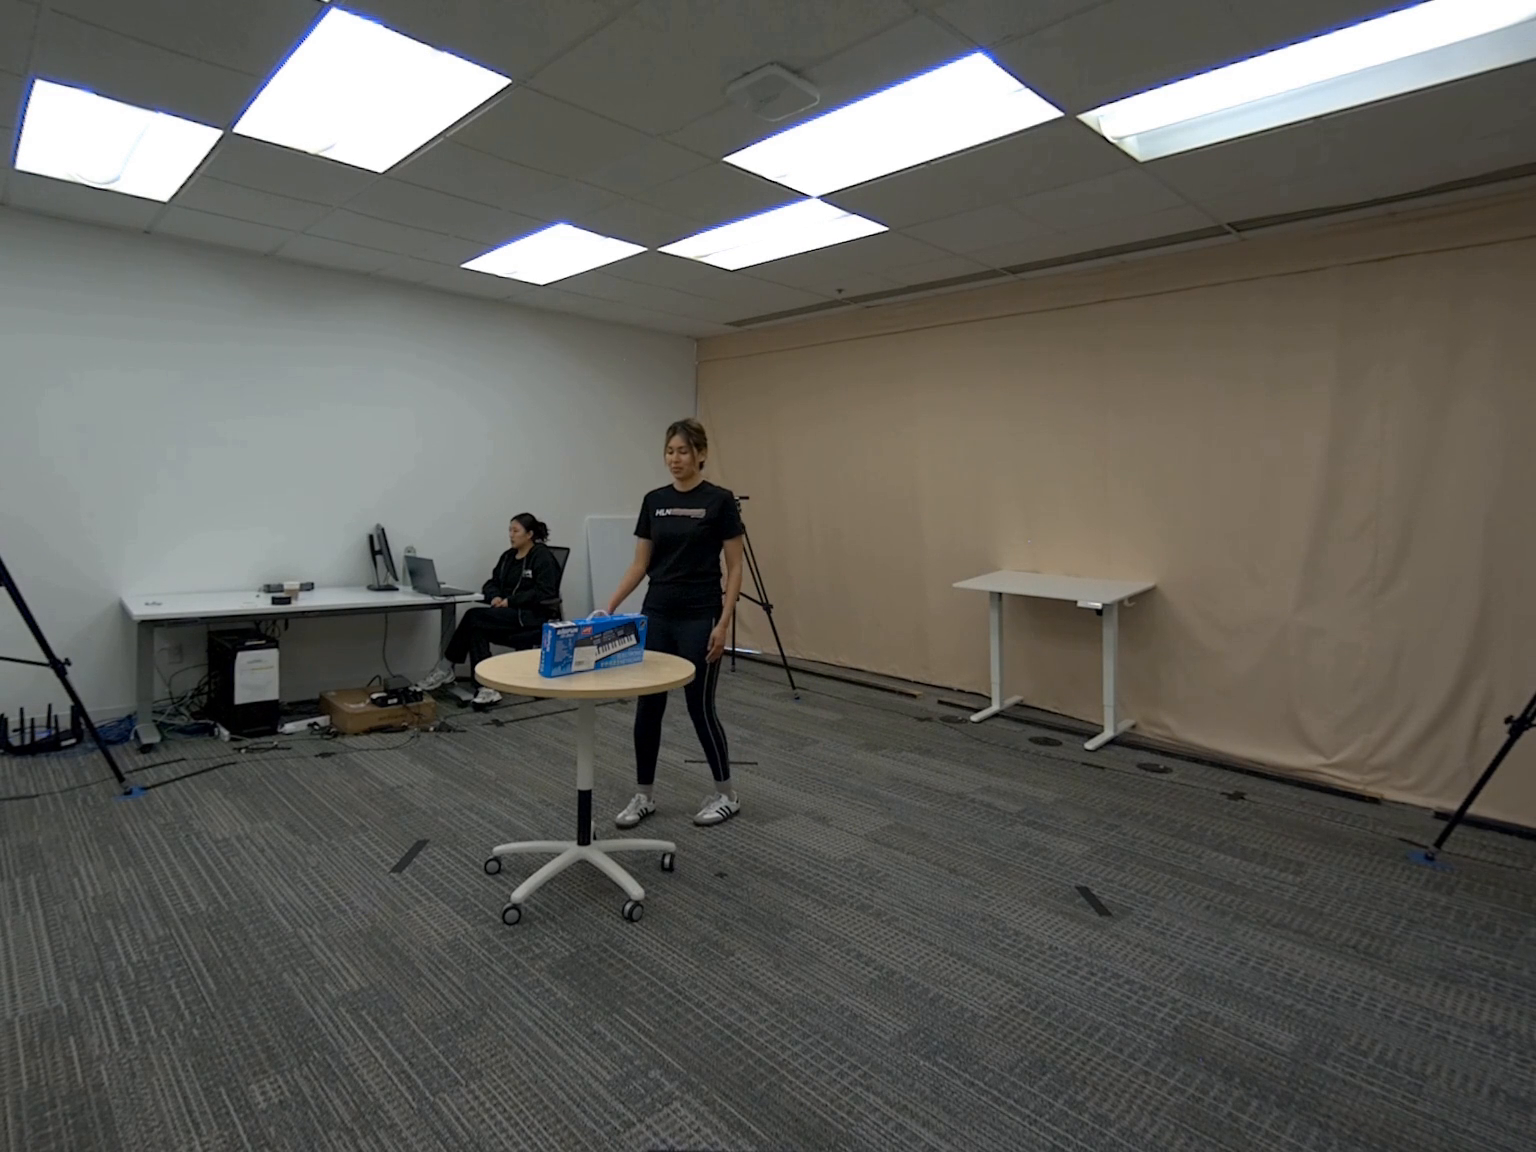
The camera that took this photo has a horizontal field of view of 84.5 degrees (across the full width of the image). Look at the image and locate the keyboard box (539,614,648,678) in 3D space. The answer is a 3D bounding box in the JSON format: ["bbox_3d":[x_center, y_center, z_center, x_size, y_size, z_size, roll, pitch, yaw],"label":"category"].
[{"bbox_3d":[-0.610,0.239,2.930,0.061,0.175,0.427,13,10,35],"label":"keyboard box"}]
